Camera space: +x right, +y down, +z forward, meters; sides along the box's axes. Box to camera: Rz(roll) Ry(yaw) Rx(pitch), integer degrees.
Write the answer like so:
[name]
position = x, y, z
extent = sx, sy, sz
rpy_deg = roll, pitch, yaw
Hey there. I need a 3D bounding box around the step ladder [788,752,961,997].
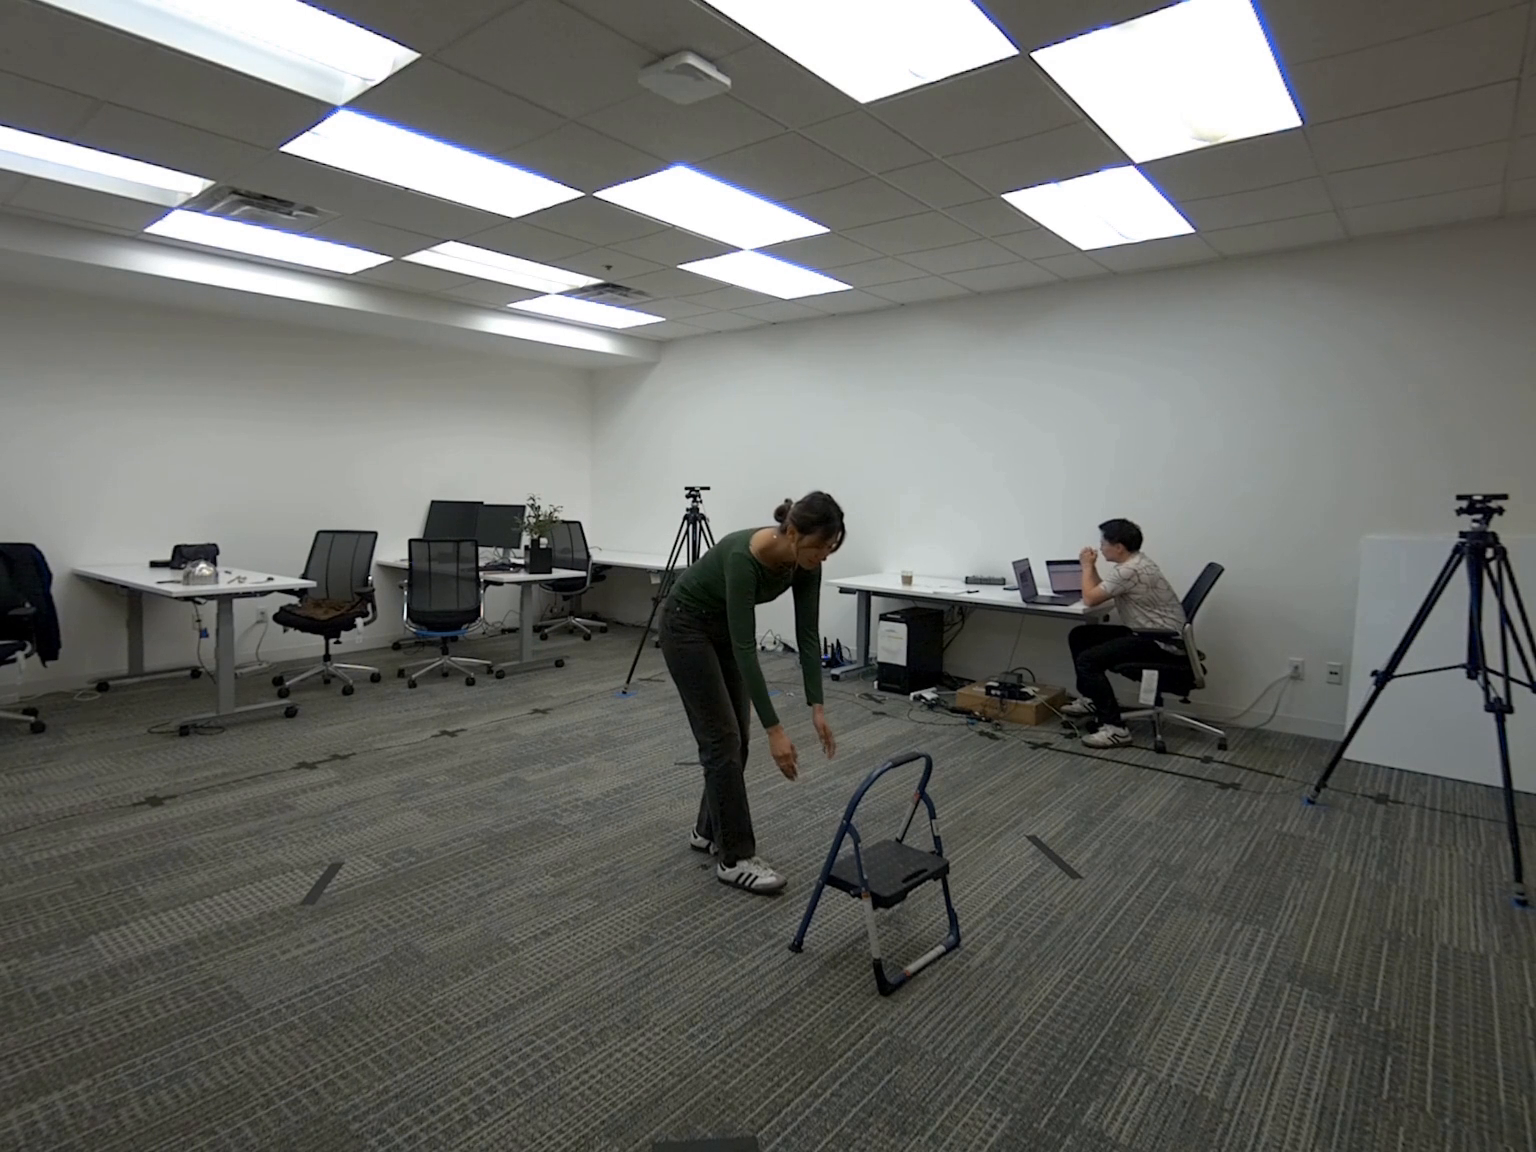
[step ladder]
position = 0.329, 0.824, 2.581
extent = 0.361, 0.604, 0.418
rpy_deg = 5, 6, 43
